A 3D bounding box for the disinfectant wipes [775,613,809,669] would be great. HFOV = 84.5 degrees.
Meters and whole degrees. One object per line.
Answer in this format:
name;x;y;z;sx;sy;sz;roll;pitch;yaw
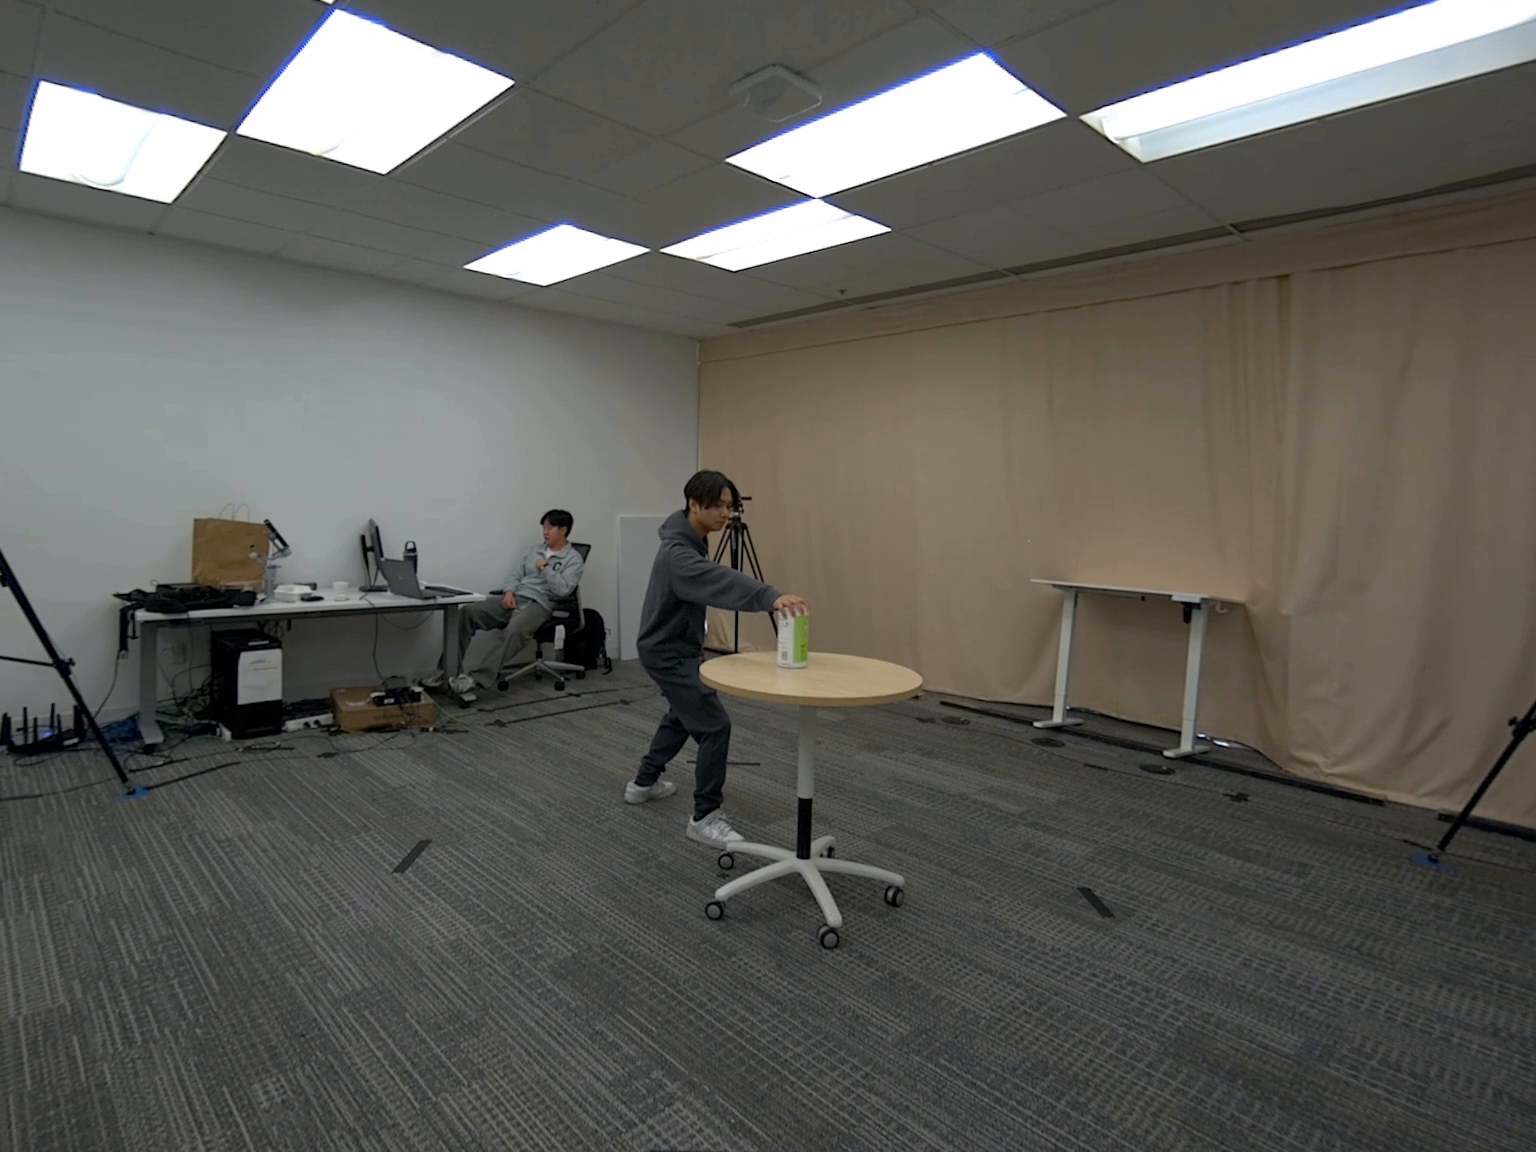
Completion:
disinfectant wipes;0.081;0.217;3.003;0.118;0.217;0.118;0;1;-1
